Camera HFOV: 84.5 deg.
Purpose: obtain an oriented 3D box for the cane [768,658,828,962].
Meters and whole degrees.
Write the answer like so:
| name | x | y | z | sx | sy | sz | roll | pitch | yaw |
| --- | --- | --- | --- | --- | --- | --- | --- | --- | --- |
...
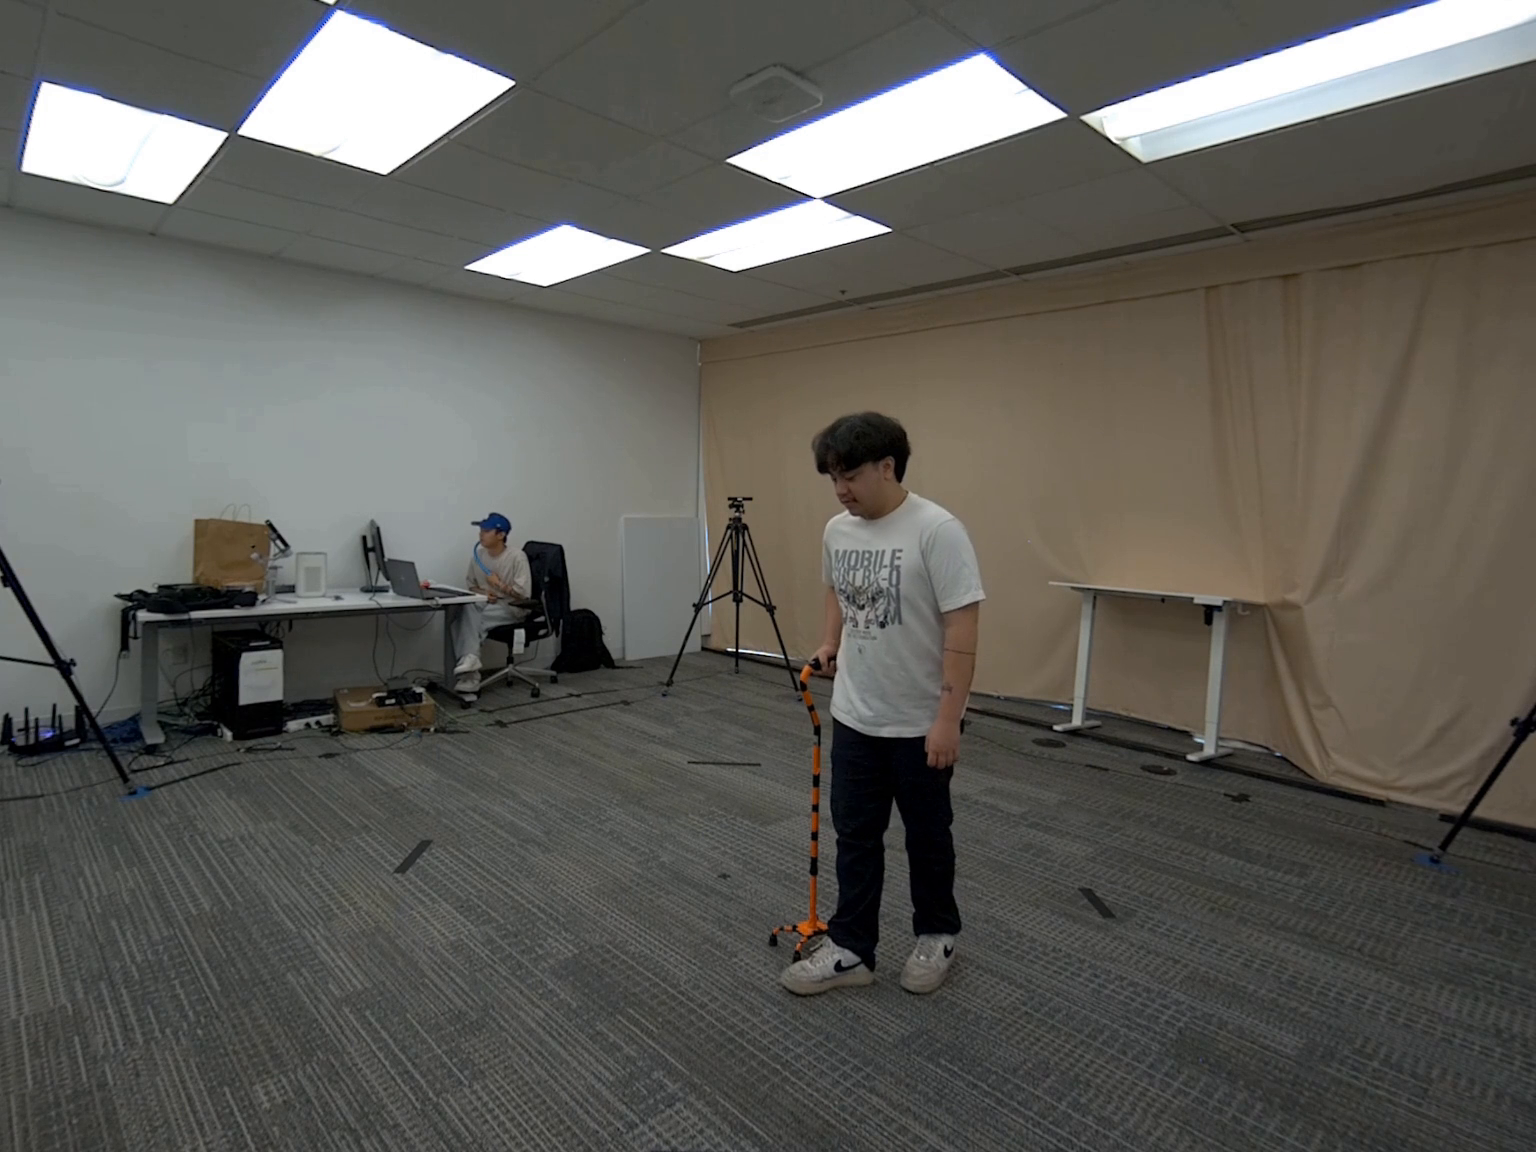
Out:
| name | x | y | z | sx | sy | sz | roll | pitch | yaw |
| --- | --- | --- | --- | --- | --- | --- | --- | --- | --- |
| cane | 0.122 | 0.709 | 2.609 | 0.202 | 0.906 | 0.155 | -1 | 3 | -32 |
